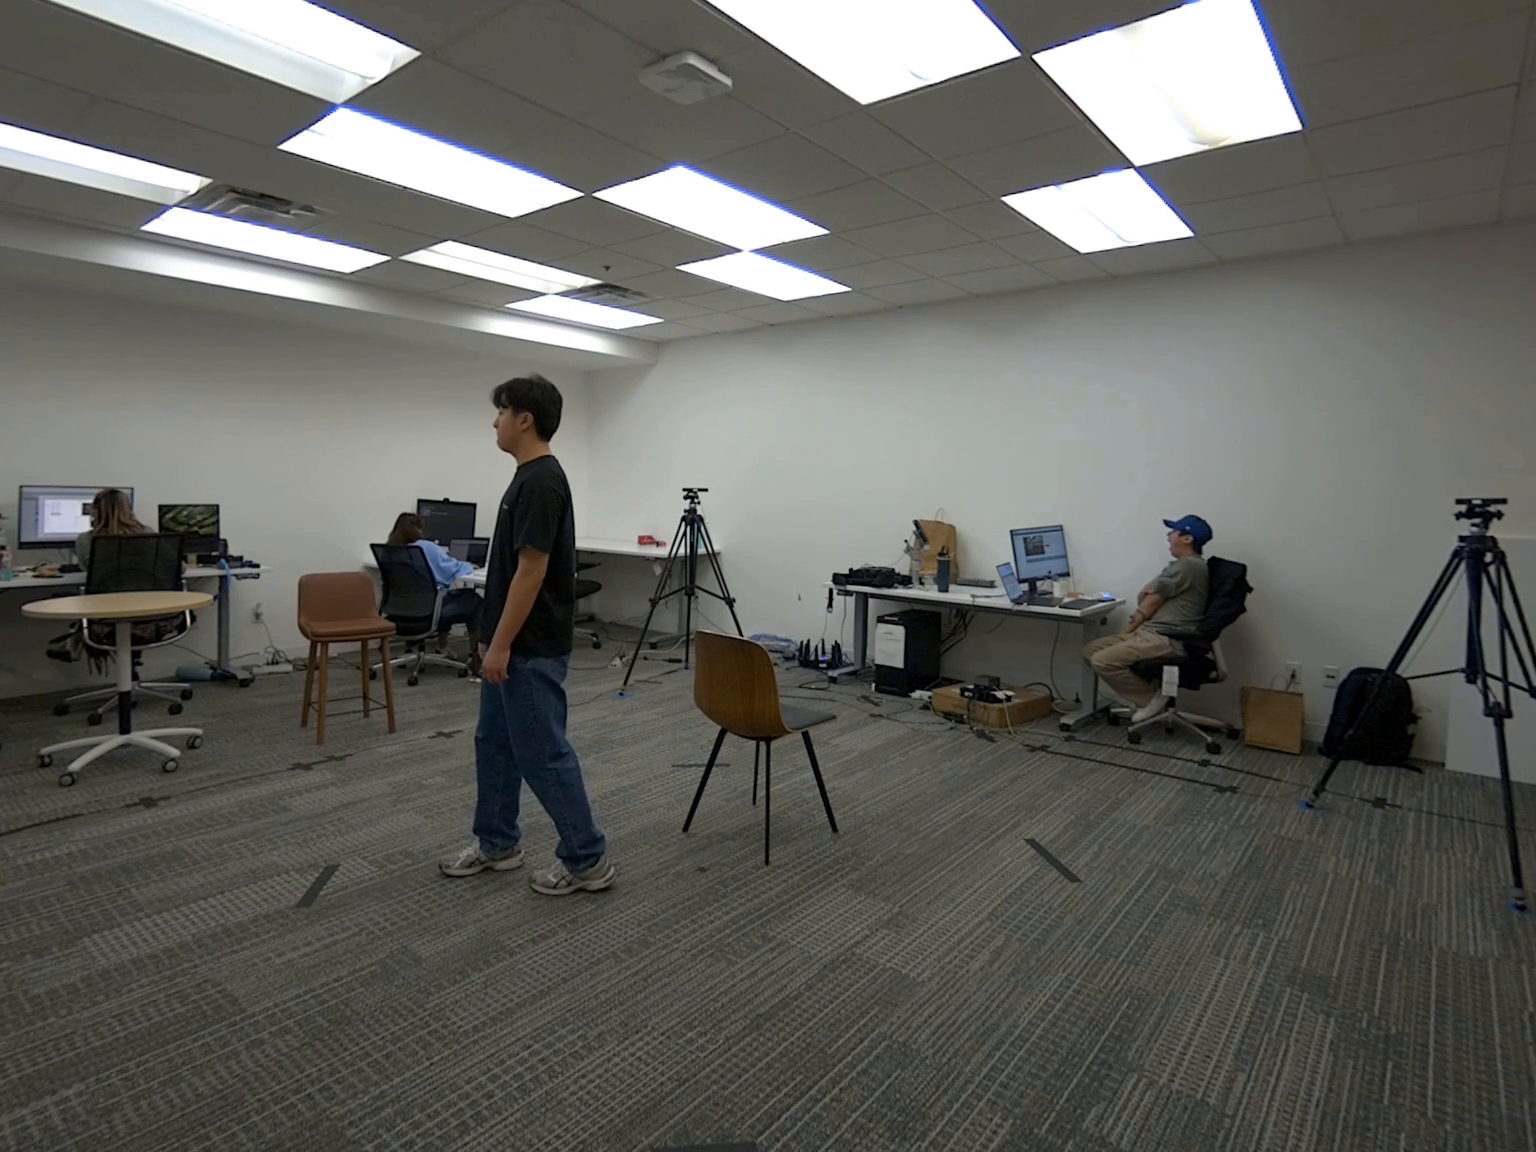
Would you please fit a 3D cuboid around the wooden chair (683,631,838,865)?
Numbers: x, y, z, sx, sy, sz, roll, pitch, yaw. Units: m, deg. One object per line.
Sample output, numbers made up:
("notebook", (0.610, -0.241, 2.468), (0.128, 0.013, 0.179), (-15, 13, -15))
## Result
("wooden chair", (-0.030, 0.610, 3.444), (0.494, 0.872, 0.509), (4, 8, 41))
